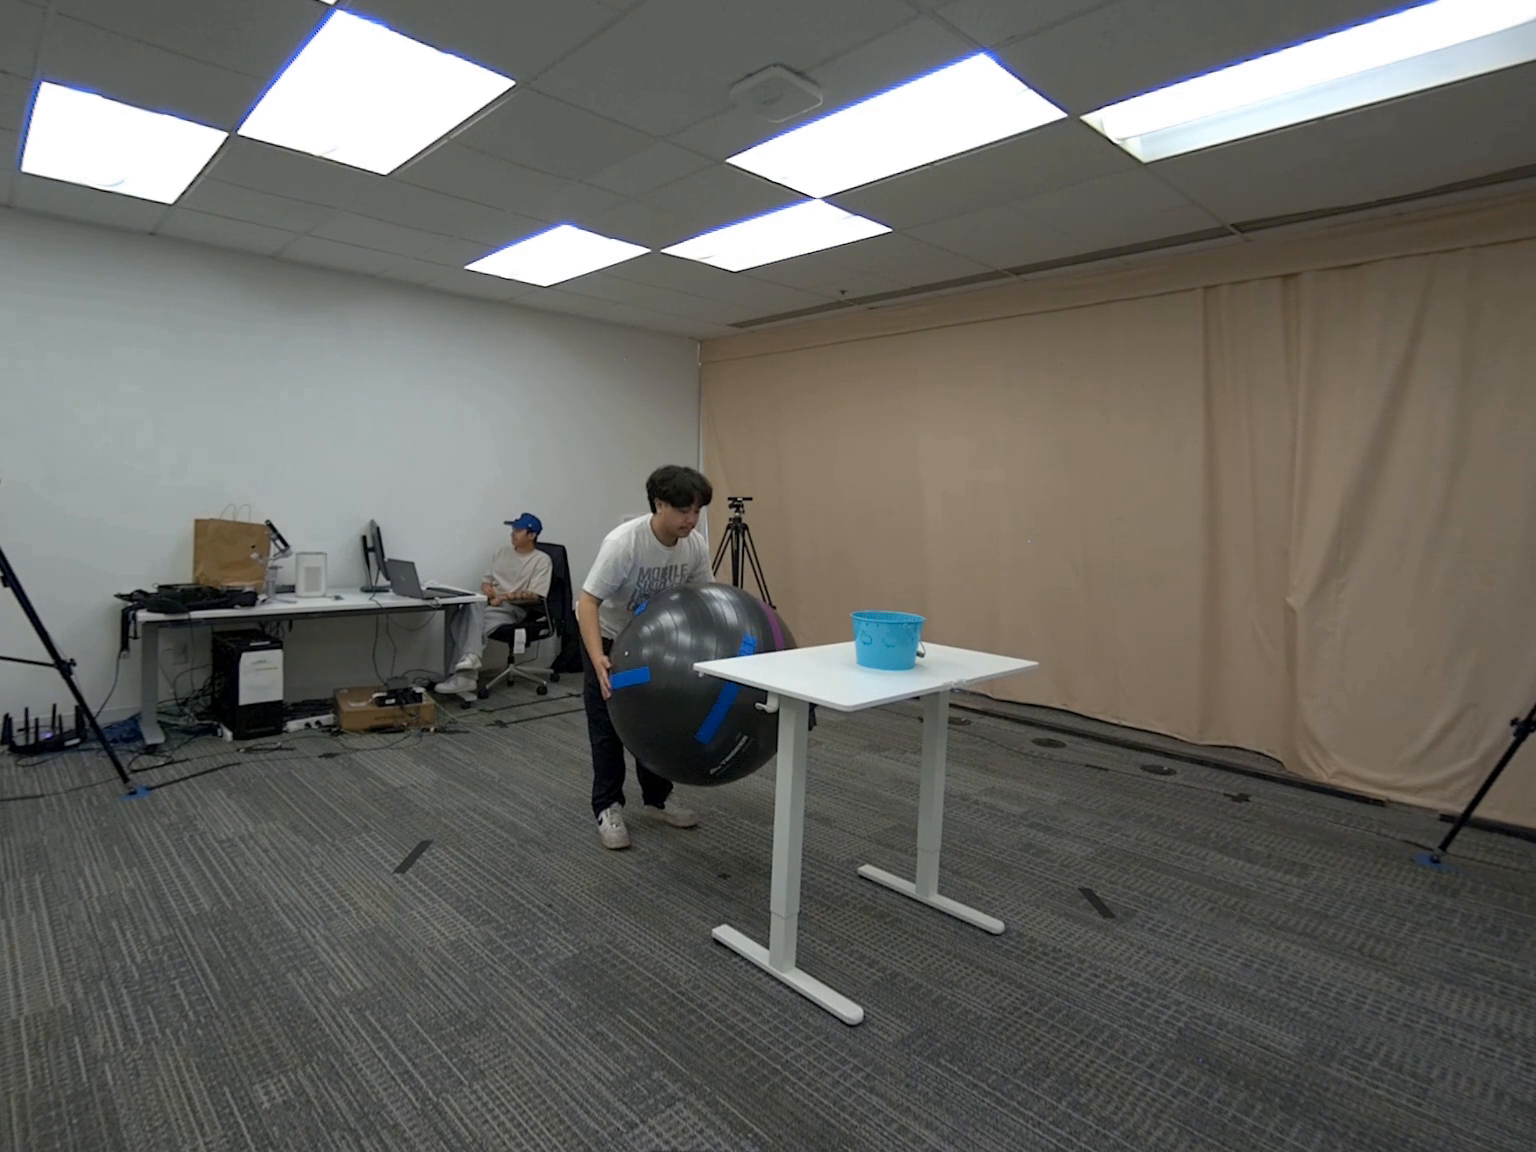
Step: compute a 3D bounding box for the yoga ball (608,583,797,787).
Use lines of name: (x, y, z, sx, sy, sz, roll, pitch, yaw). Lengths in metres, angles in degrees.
yoga ball: (-0.246, 0.418, 3.197, 0.757, 0.756, 0.761, 1, 4, -1)
